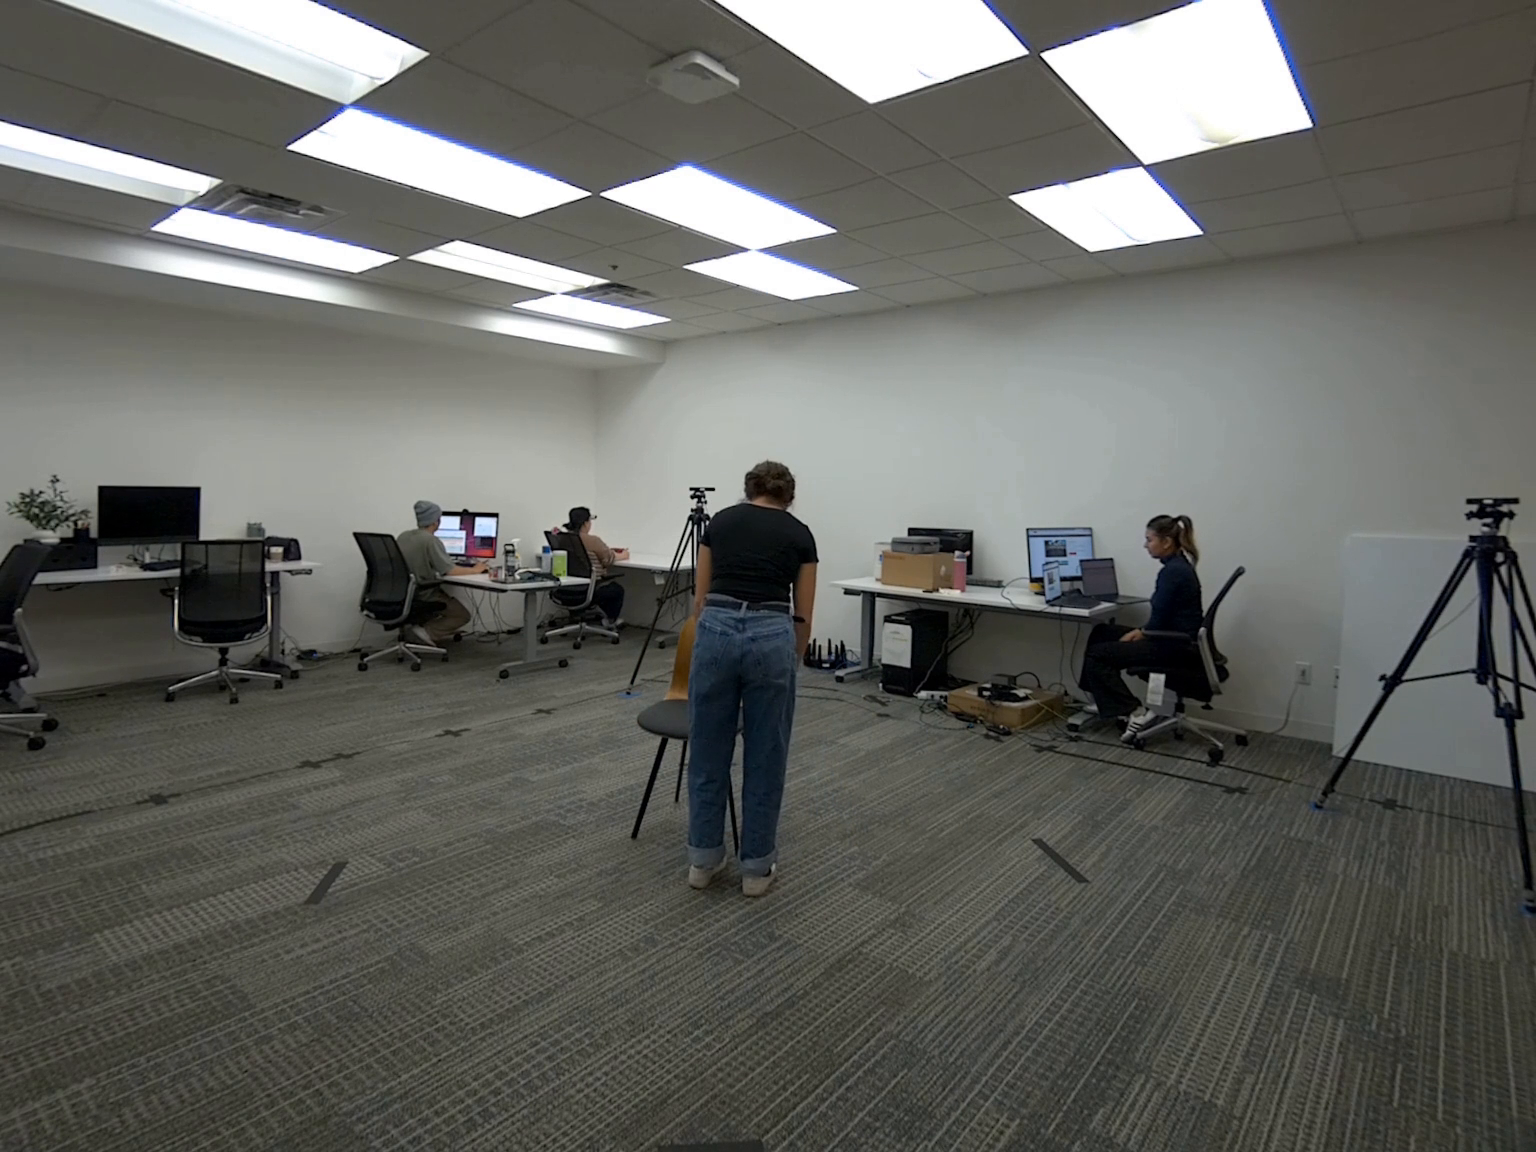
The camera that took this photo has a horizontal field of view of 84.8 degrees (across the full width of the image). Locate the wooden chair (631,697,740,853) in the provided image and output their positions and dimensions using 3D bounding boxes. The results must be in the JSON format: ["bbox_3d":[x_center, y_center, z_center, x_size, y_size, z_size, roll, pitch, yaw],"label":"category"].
[{"bbox_3d":[-0.264,0.600,3.458,0.488,0.878,0.512,2,-1,19],"label":"wooden chair"}]
